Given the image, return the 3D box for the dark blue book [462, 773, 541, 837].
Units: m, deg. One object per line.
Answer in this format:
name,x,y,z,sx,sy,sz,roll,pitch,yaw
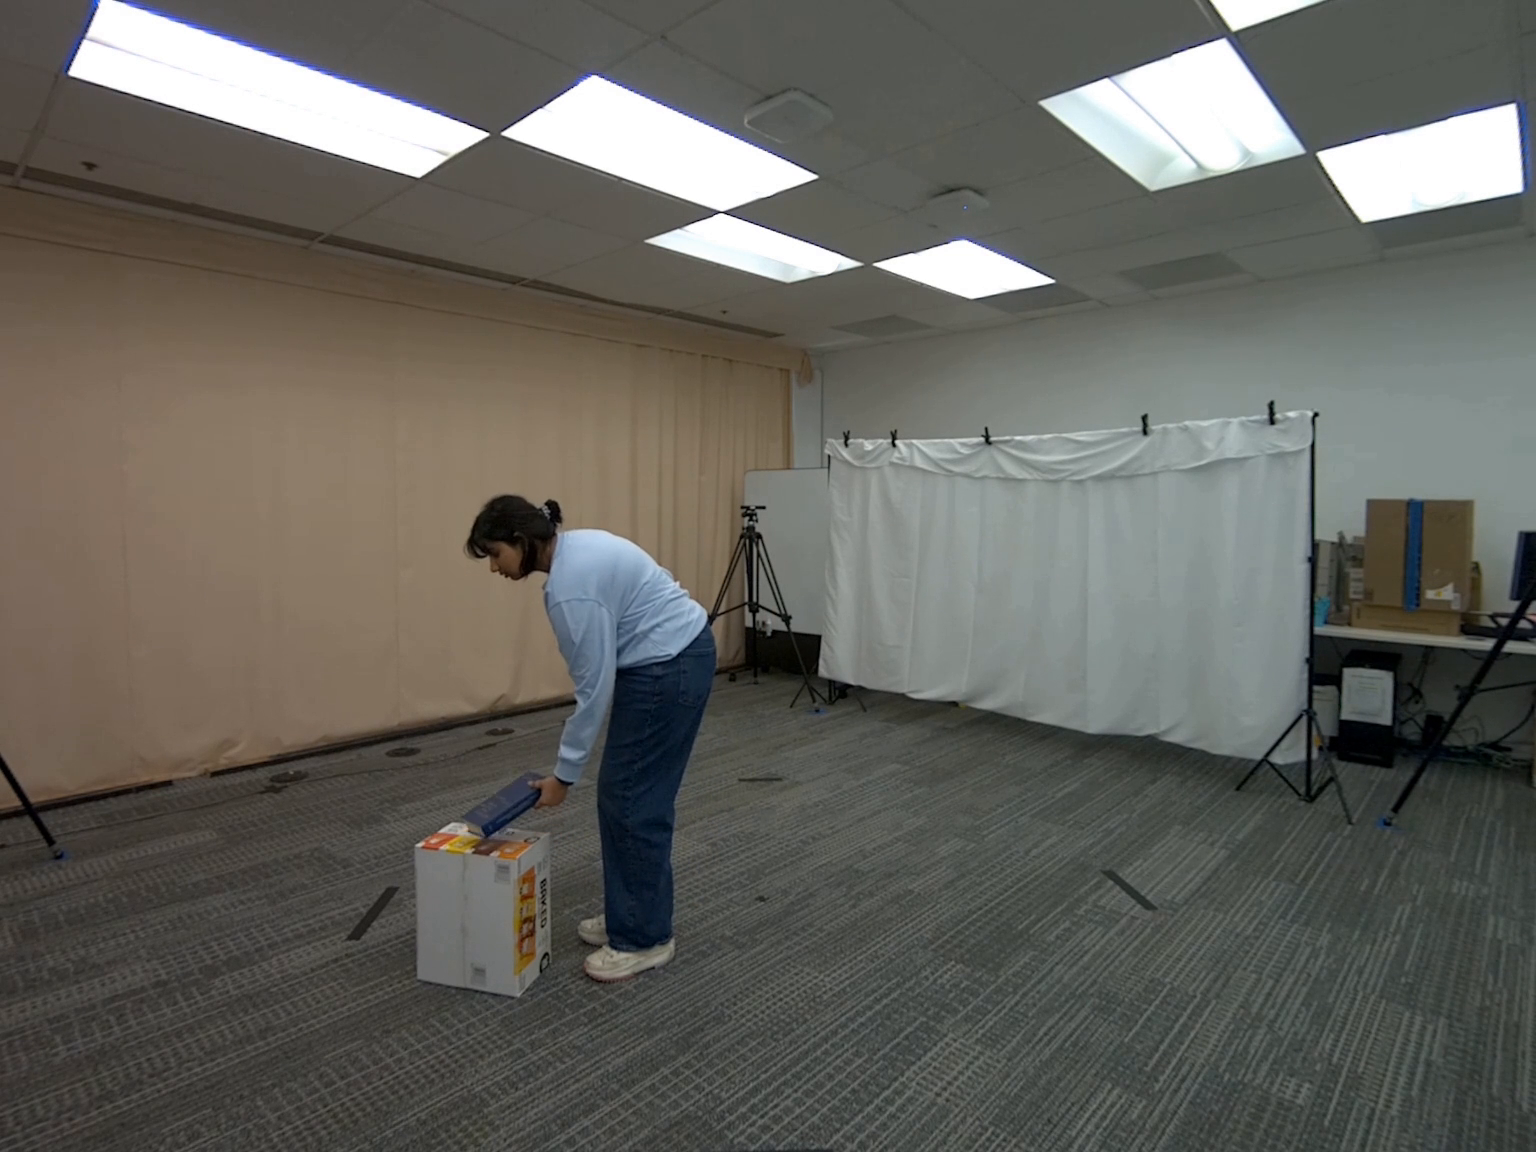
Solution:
dark blue book,-0.770,0.675,2.499,0.241,0.045,0.168,-31,14,-35
